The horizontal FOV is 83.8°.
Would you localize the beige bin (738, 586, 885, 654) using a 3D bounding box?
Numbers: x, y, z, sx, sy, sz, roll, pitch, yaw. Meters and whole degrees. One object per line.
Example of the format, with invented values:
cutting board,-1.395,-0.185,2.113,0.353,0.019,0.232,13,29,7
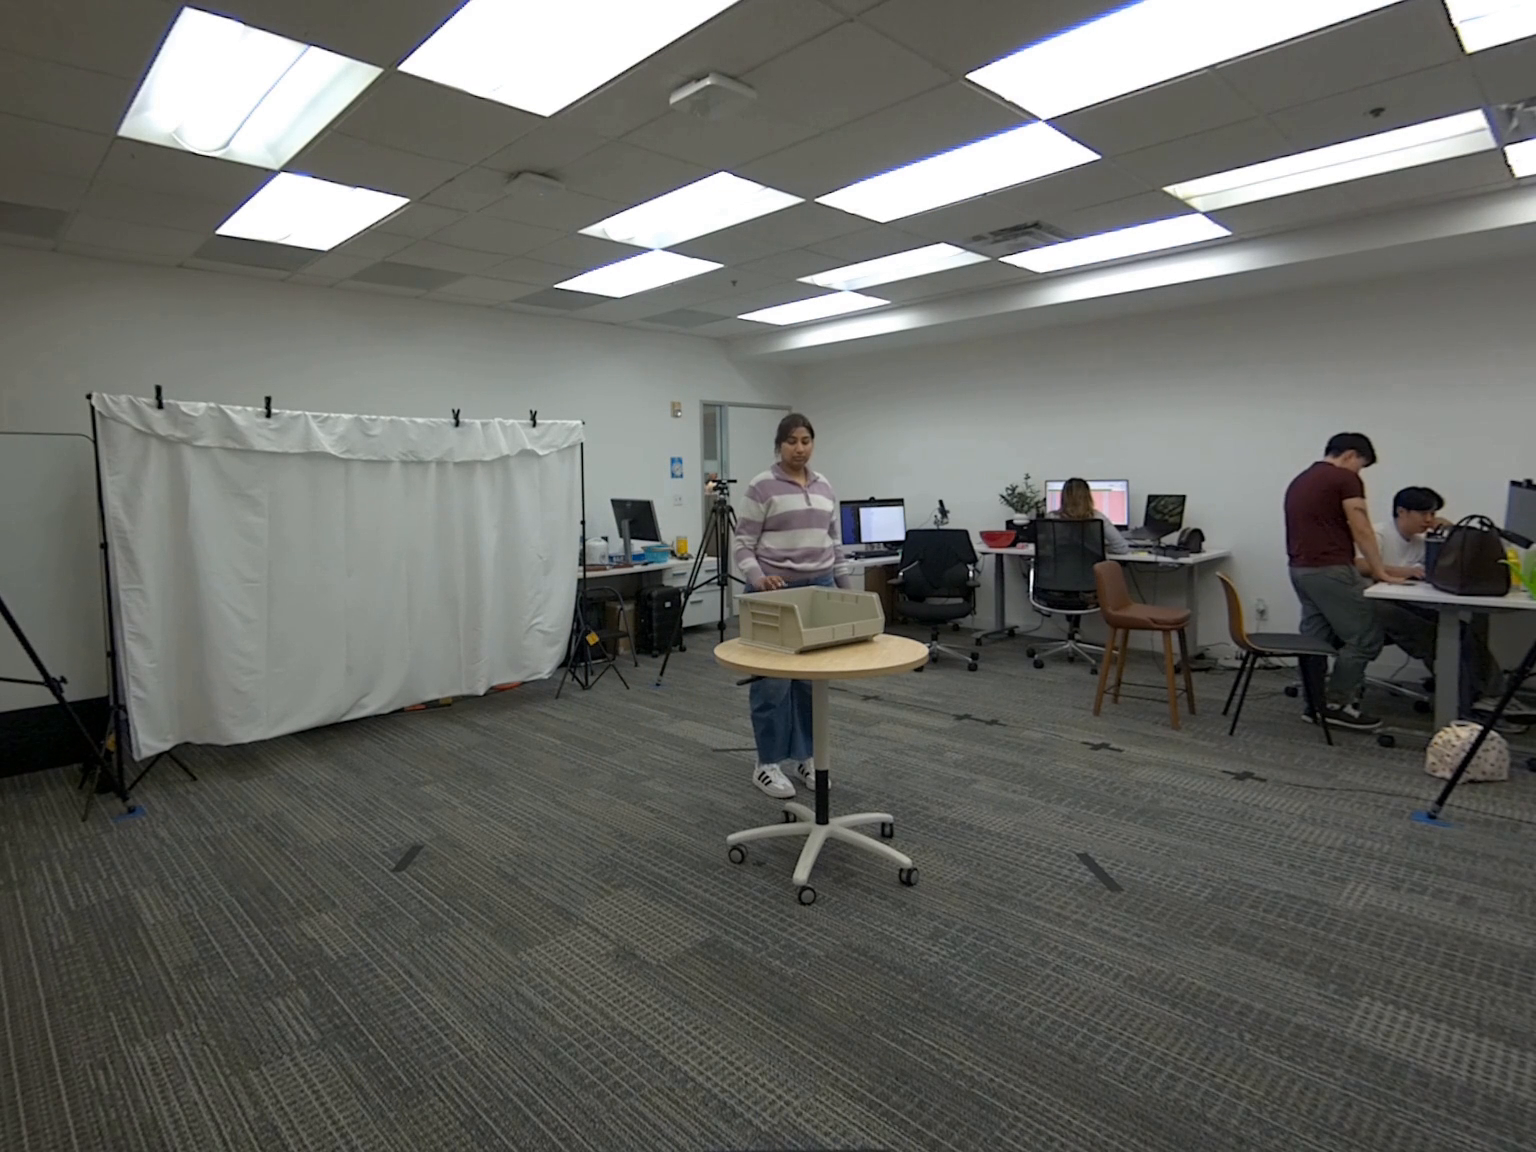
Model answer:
beige bin,0.154,0.165,3.206,0.411,0.188,0.388,-6,6,-39
